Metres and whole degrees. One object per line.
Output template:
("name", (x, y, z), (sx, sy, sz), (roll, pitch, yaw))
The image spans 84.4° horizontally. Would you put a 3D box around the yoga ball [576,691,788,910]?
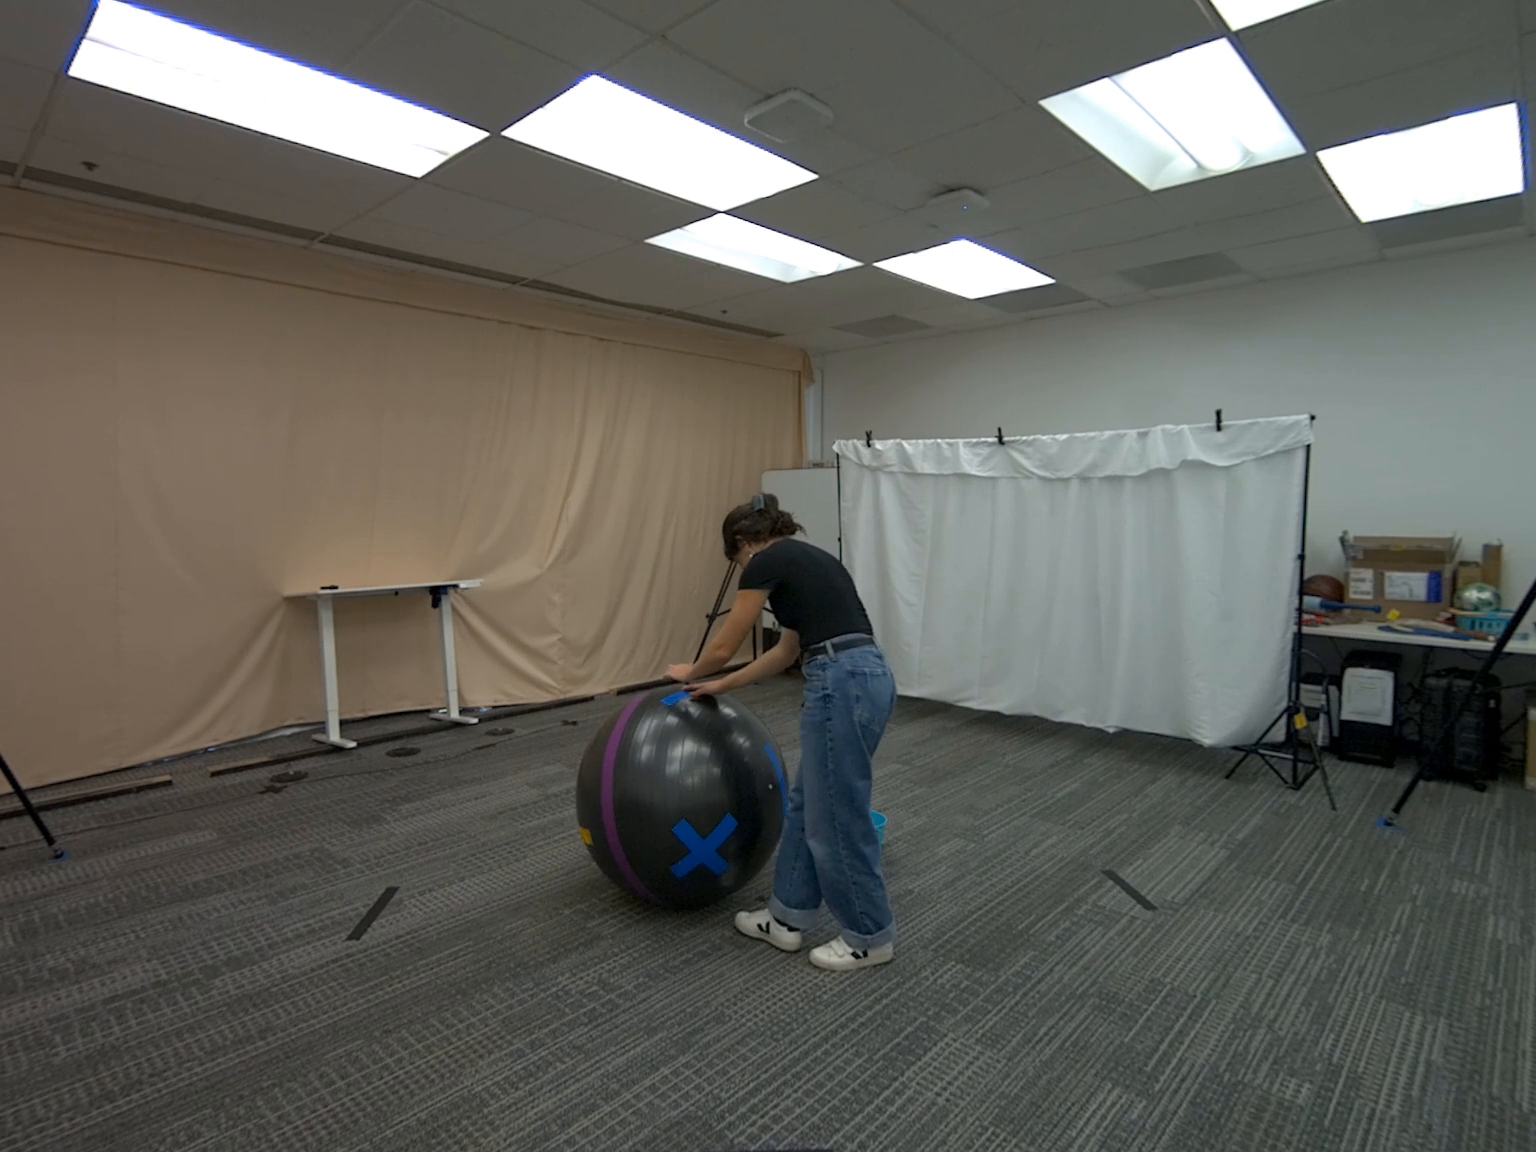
("yoga ball", (-0.295, 0.774, 3.003), (0.757, 0.756, 0.760), (0, 4, -2))
